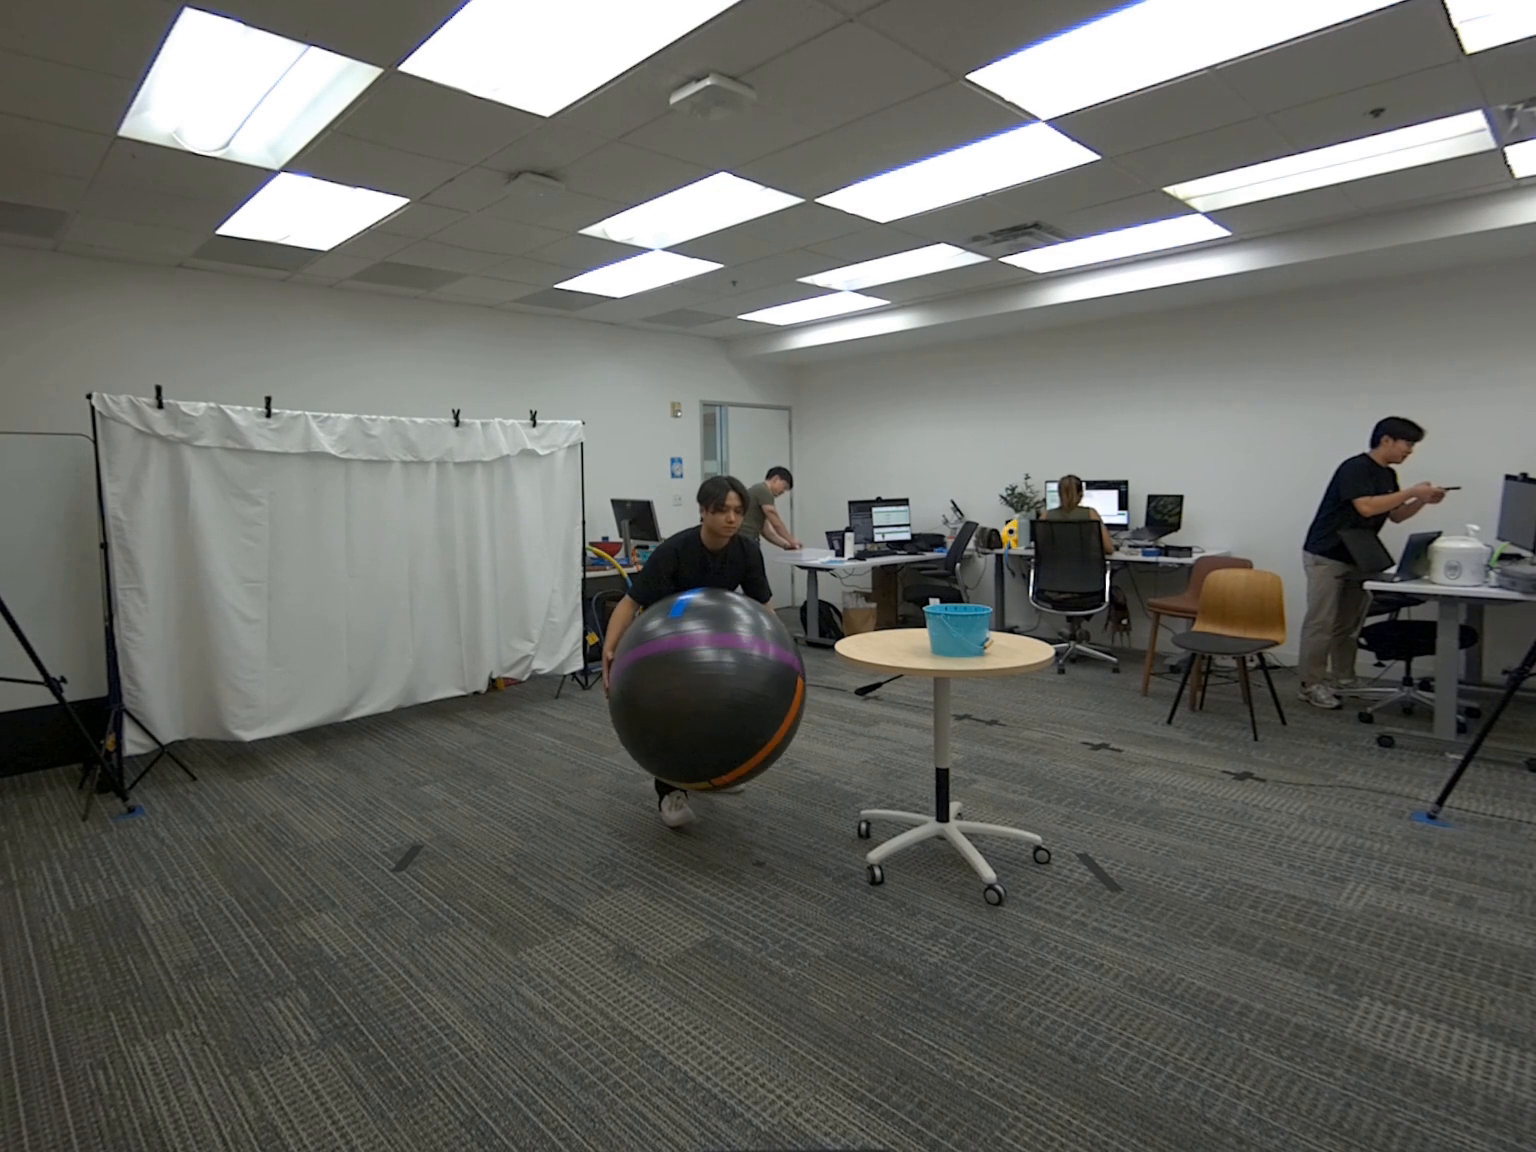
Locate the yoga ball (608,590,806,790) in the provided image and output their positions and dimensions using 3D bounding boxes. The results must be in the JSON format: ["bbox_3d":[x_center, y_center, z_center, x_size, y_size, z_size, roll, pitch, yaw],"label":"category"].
[{"bbox_3d":[-0.248,0.441,3.269,0.757,0.755,0.762,-1,5,-2],"label":"yoga ball"}]
